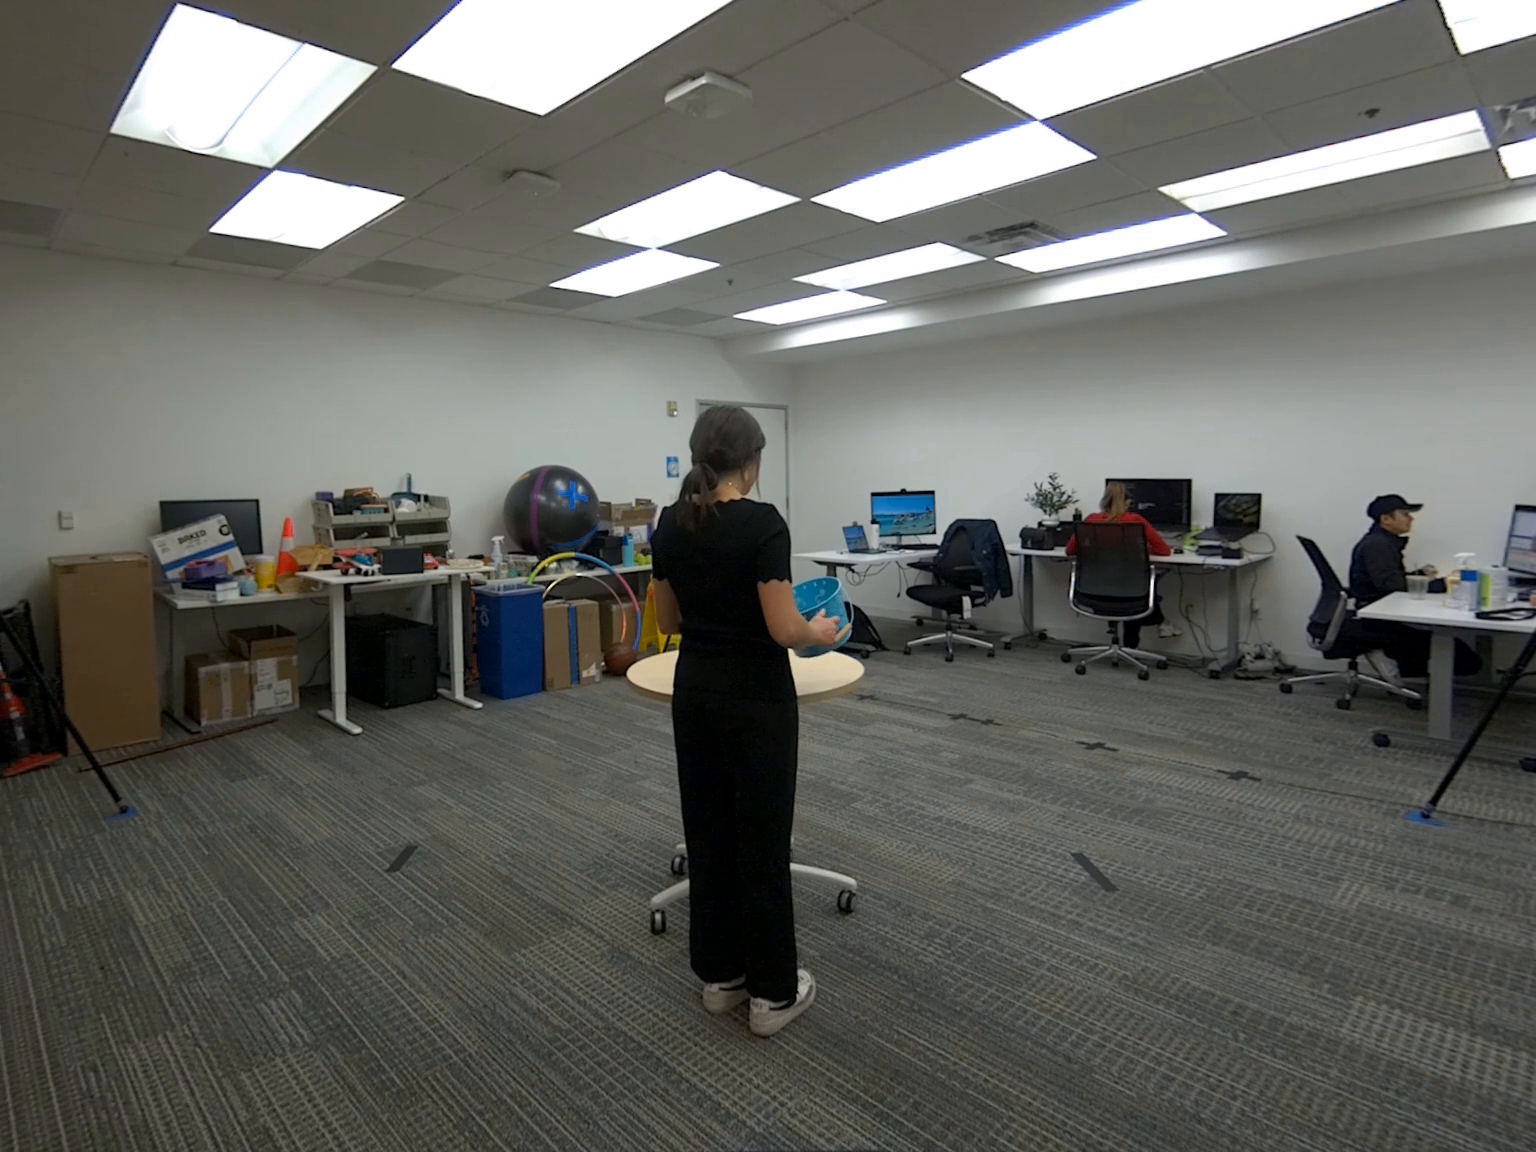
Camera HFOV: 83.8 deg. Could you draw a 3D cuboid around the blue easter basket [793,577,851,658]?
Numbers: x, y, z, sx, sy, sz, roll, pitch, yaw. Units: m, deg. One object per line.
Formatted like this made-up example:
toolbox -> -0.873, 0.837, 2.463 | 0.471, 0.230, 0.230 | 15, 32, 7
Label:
blue easter basket -> 0.132, 0.132, 2.470 | 0.244, 0.153, 0.247 | -24, 17, 6
